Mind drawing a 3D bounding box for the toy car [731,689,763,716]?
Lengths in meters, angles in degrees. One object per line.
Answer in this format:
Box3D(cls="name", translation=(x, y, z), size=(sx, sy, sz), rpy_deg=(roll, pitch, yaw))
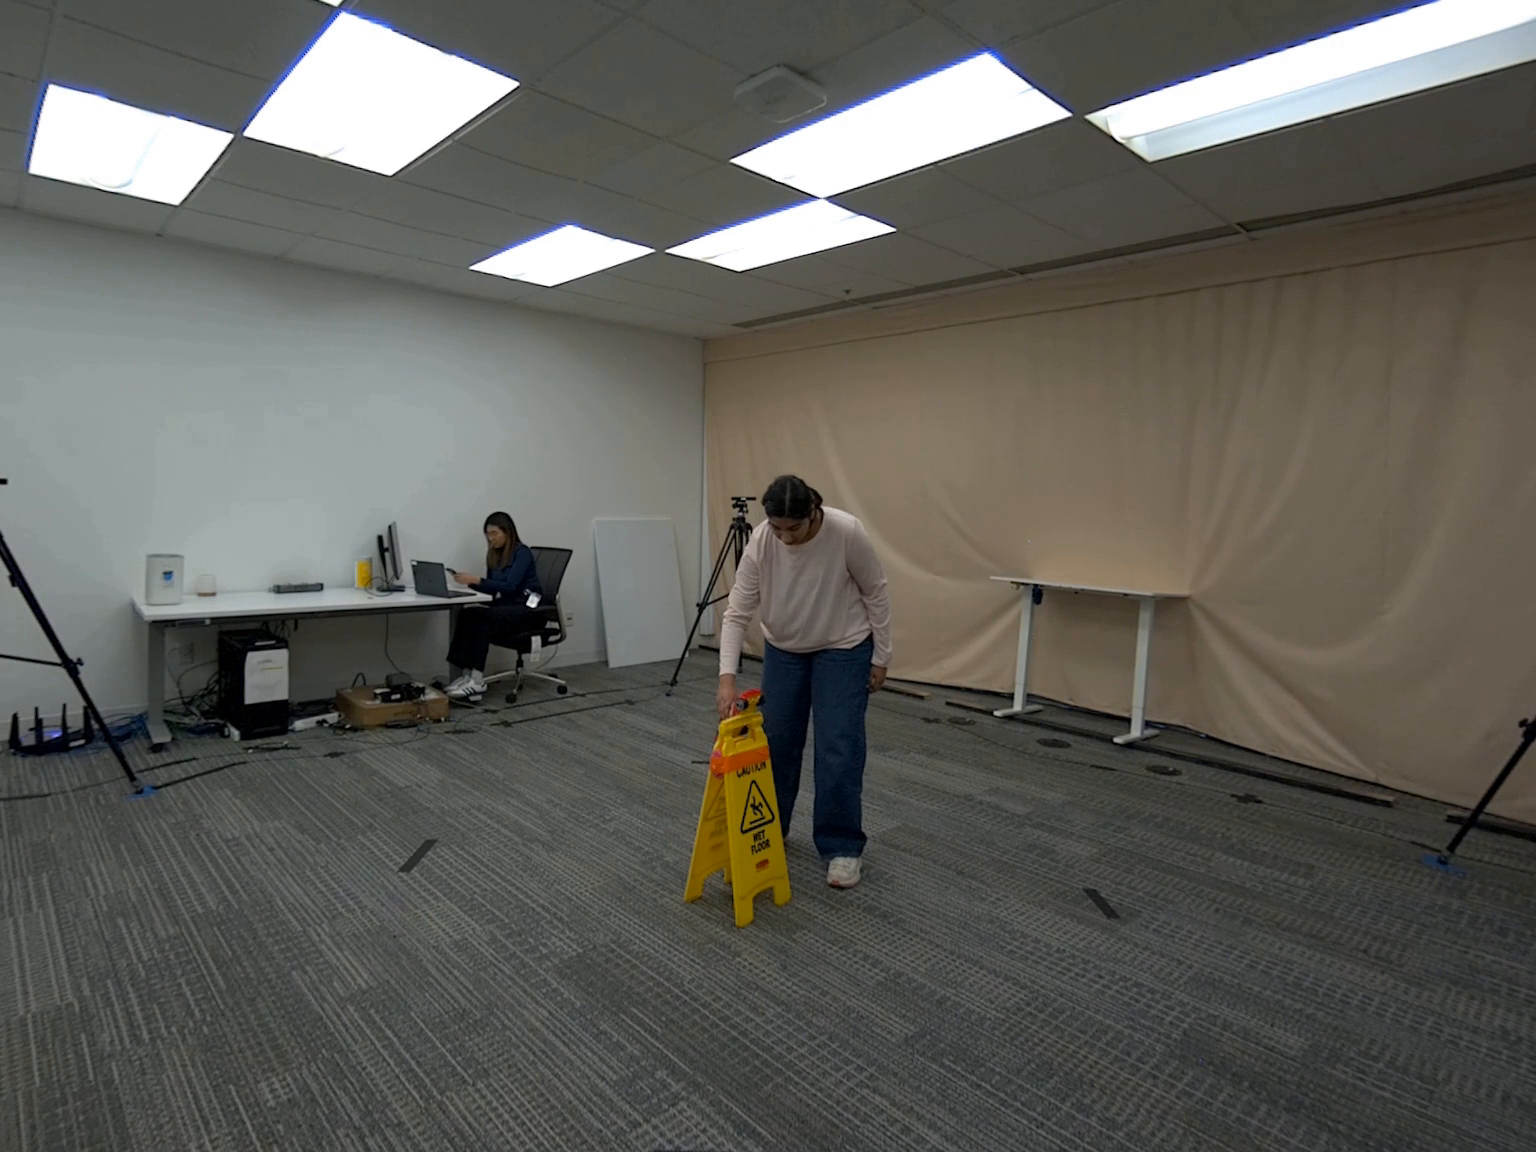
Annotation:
Box3D(cls="toy car", translation=(-0.109, 0.498, 2.935), size=(0.127, 0.085, 0.253), rpy_deg=(-9, -35, -47))
